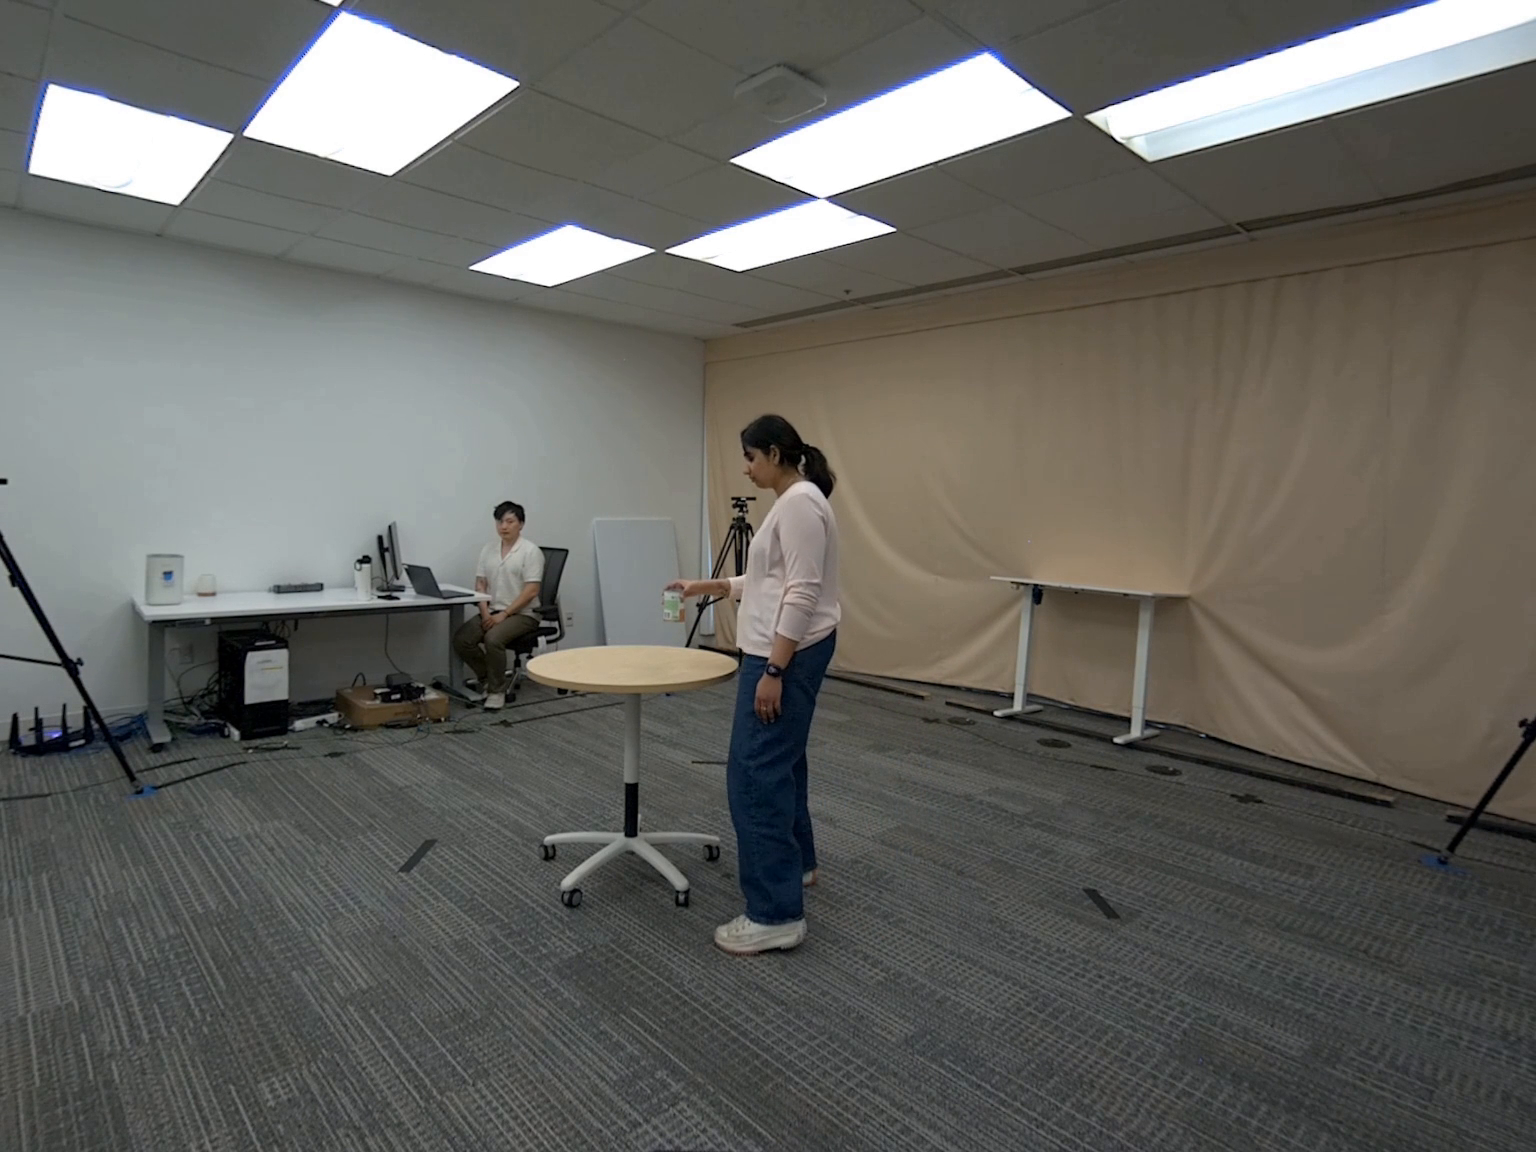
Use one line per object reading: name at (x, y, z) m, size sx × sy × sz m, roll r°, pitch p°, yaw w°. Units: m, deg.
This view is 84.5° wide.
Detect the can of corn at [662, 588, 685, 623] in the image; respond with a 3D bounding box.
can of corn at (-0.338, 0.107, 3.003) m, size 0.074 × 0.110 × 0.074 m, roll 0°, pitch 5°, yaw -1°
